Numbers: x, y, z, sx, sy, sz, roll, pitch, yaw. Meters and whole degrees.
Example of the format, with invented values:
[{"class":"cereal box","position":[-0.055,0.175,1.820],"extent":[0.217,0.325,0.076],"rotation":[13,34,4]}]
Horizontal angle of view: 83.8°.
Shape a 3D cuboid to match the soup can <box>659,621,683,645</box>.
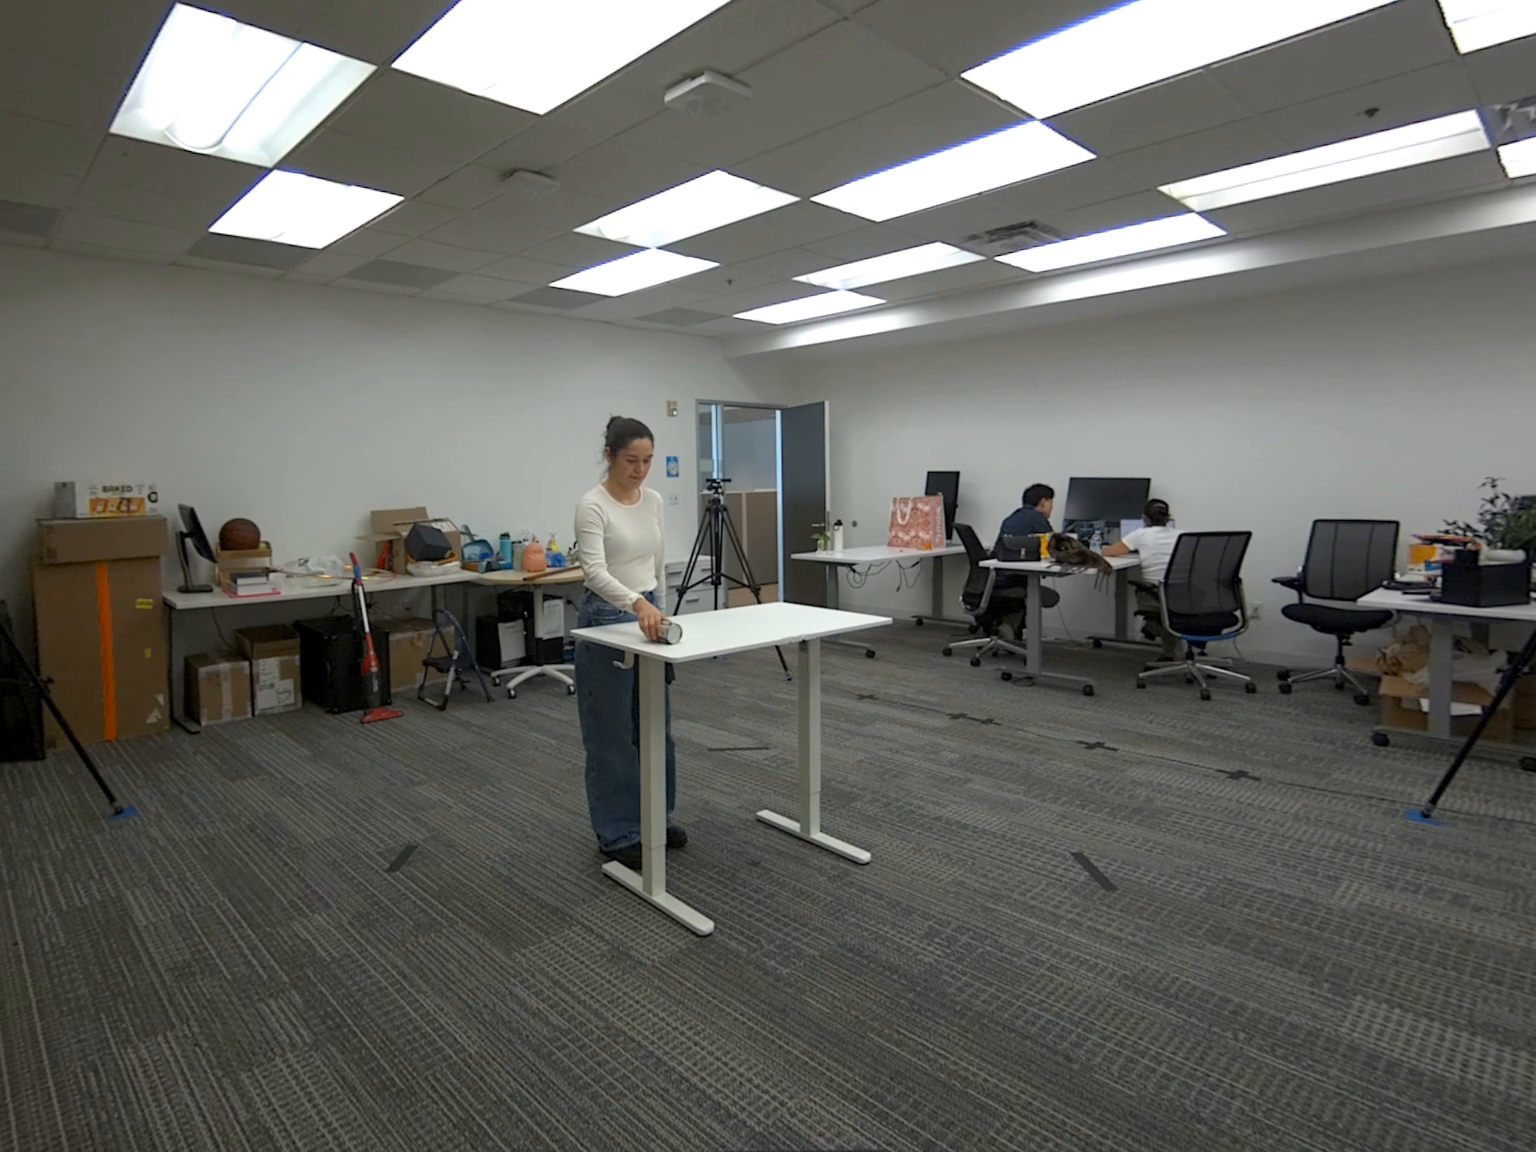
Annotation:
[{"class":"soup can","position":[-0.336,0.157,2.713],"extent":[0.067,0.121,0.067],"rotation":[-11,2,-1]}]
